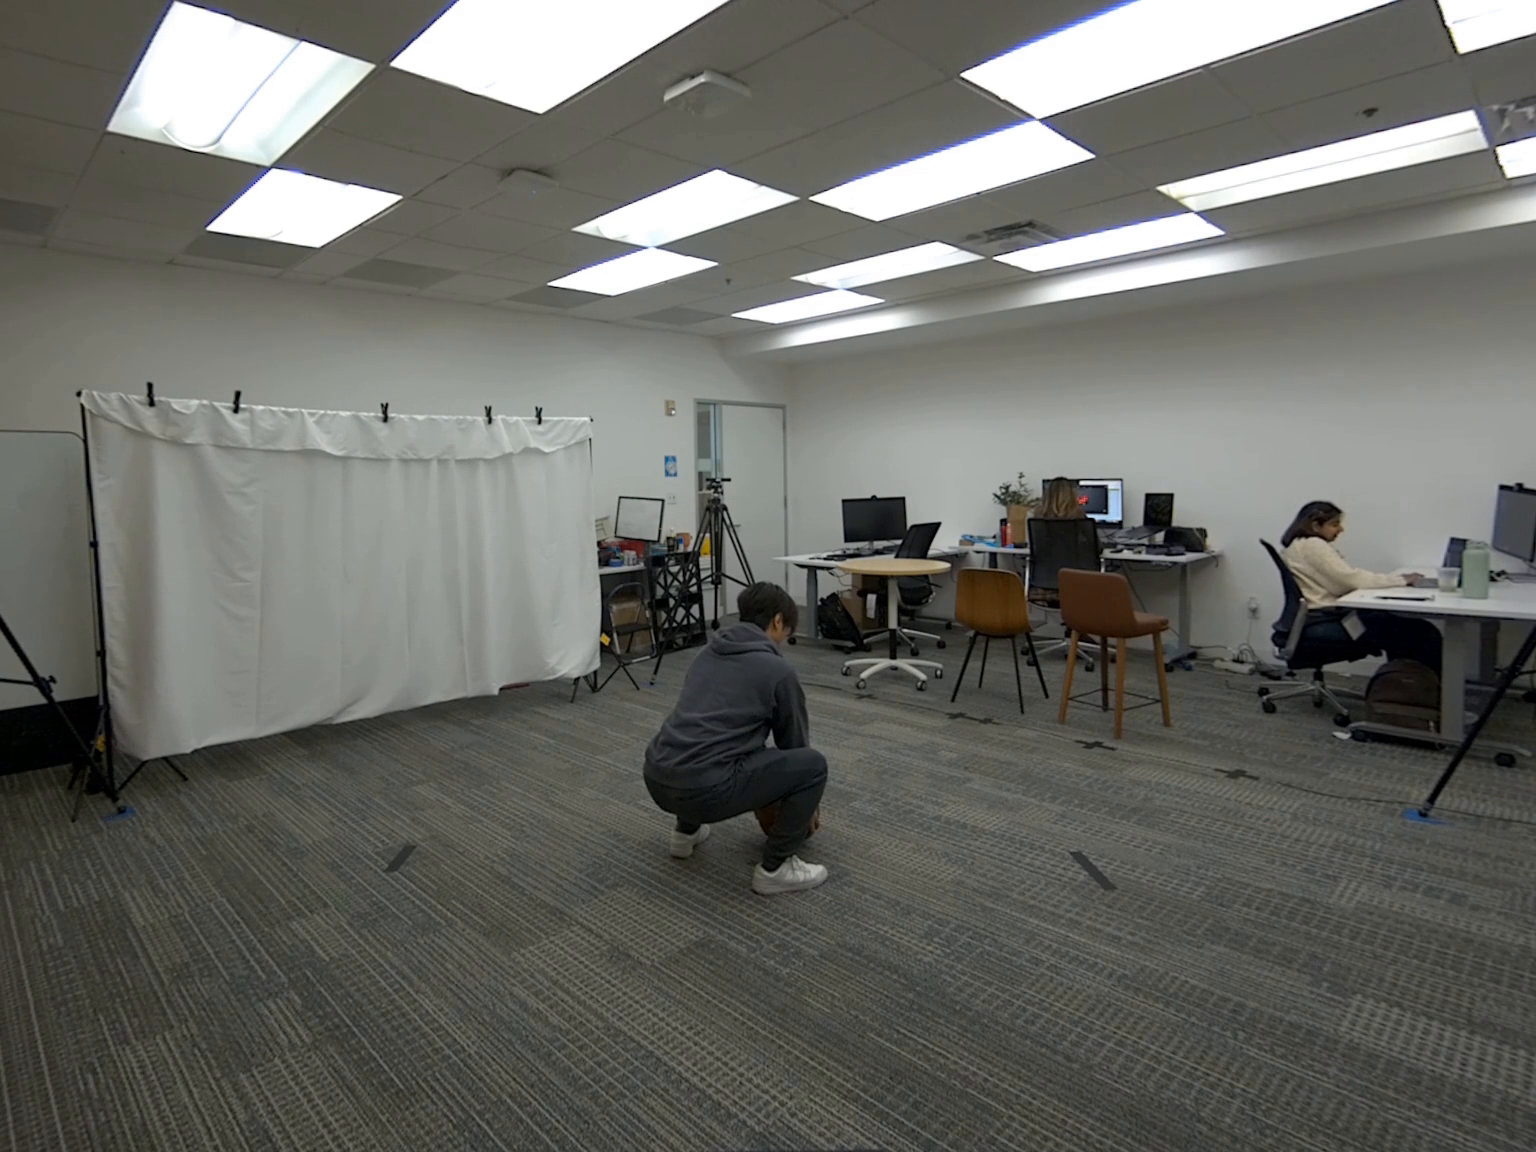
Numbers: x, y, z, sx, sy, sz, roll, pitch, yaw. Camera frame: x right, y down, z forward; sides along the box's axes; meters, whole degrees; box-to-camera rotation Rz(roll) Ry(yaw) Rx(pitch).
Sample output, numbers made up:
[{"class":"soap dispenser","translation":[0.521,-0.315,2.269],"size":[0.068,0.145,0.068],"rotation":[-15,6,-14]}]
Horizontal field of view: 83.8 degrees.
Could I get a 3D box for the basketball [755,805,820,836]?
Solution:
[{"class":"basketball","translation":[0.085,0.899,3.263],"size":[0.236,0.235,0.237],"rotation":[-1,5,-2]}]
